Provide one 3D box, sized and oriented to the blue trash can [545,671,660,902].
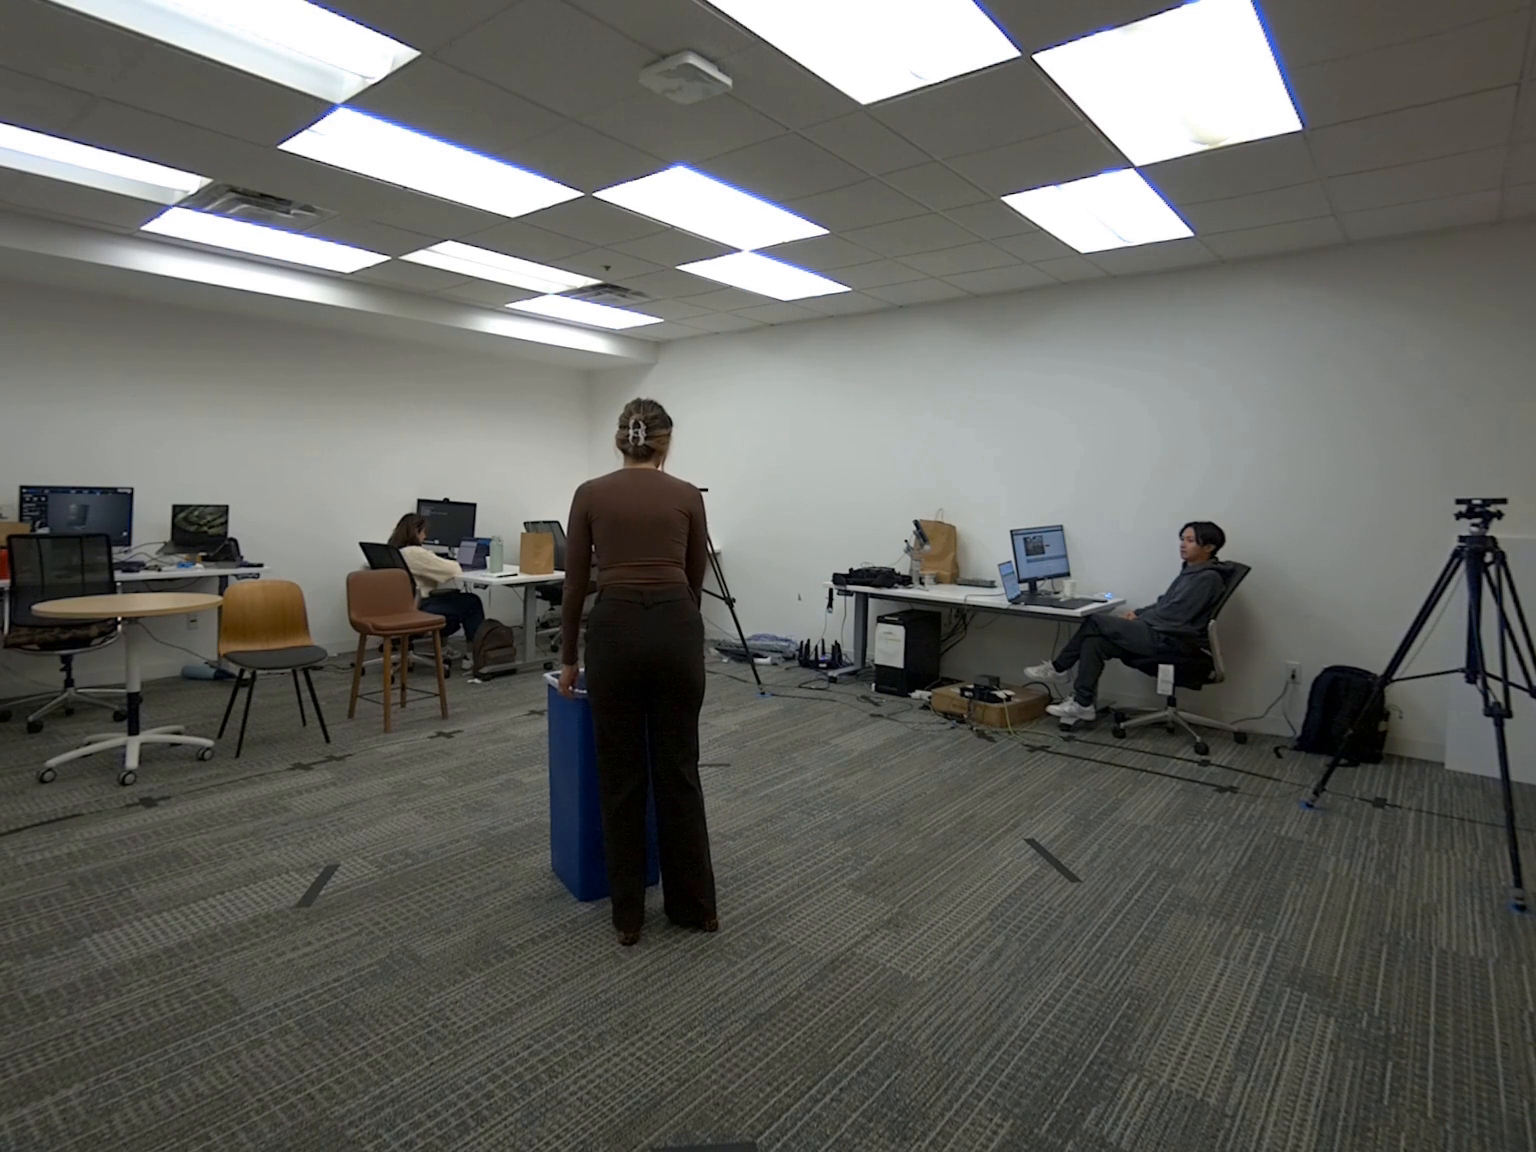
[{"bbox_3d":[-0.590,0.712,3.028,0.367,0.712,0.386,0,3,-33],"label":"blue trash can"}]
